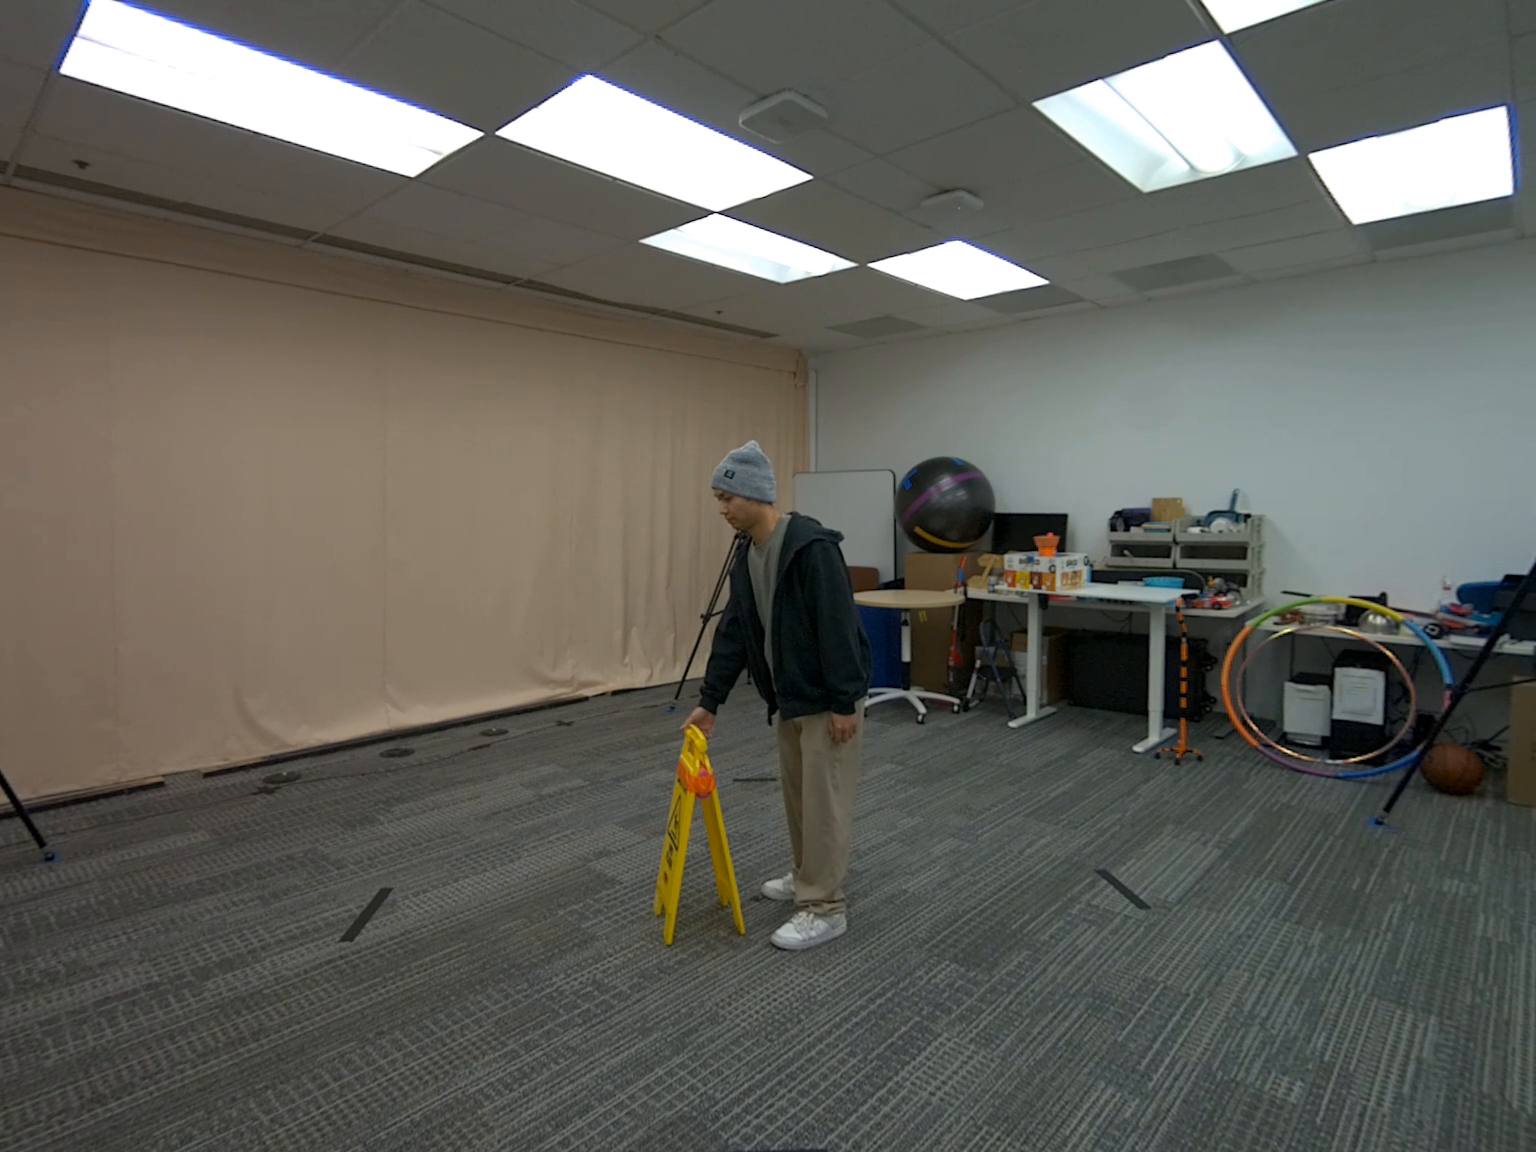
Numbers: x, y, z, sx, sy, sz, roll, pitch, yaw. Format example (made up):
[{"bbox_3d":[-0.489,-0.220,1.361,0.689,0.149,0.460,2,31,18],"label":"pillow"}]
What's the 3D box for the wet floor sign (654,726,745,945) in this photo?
[{"bbox_3d":[-0.239,0.836,2.809,0.285,0.645,0.287,-2,2,-16],"label":"wet floor sign"}]
